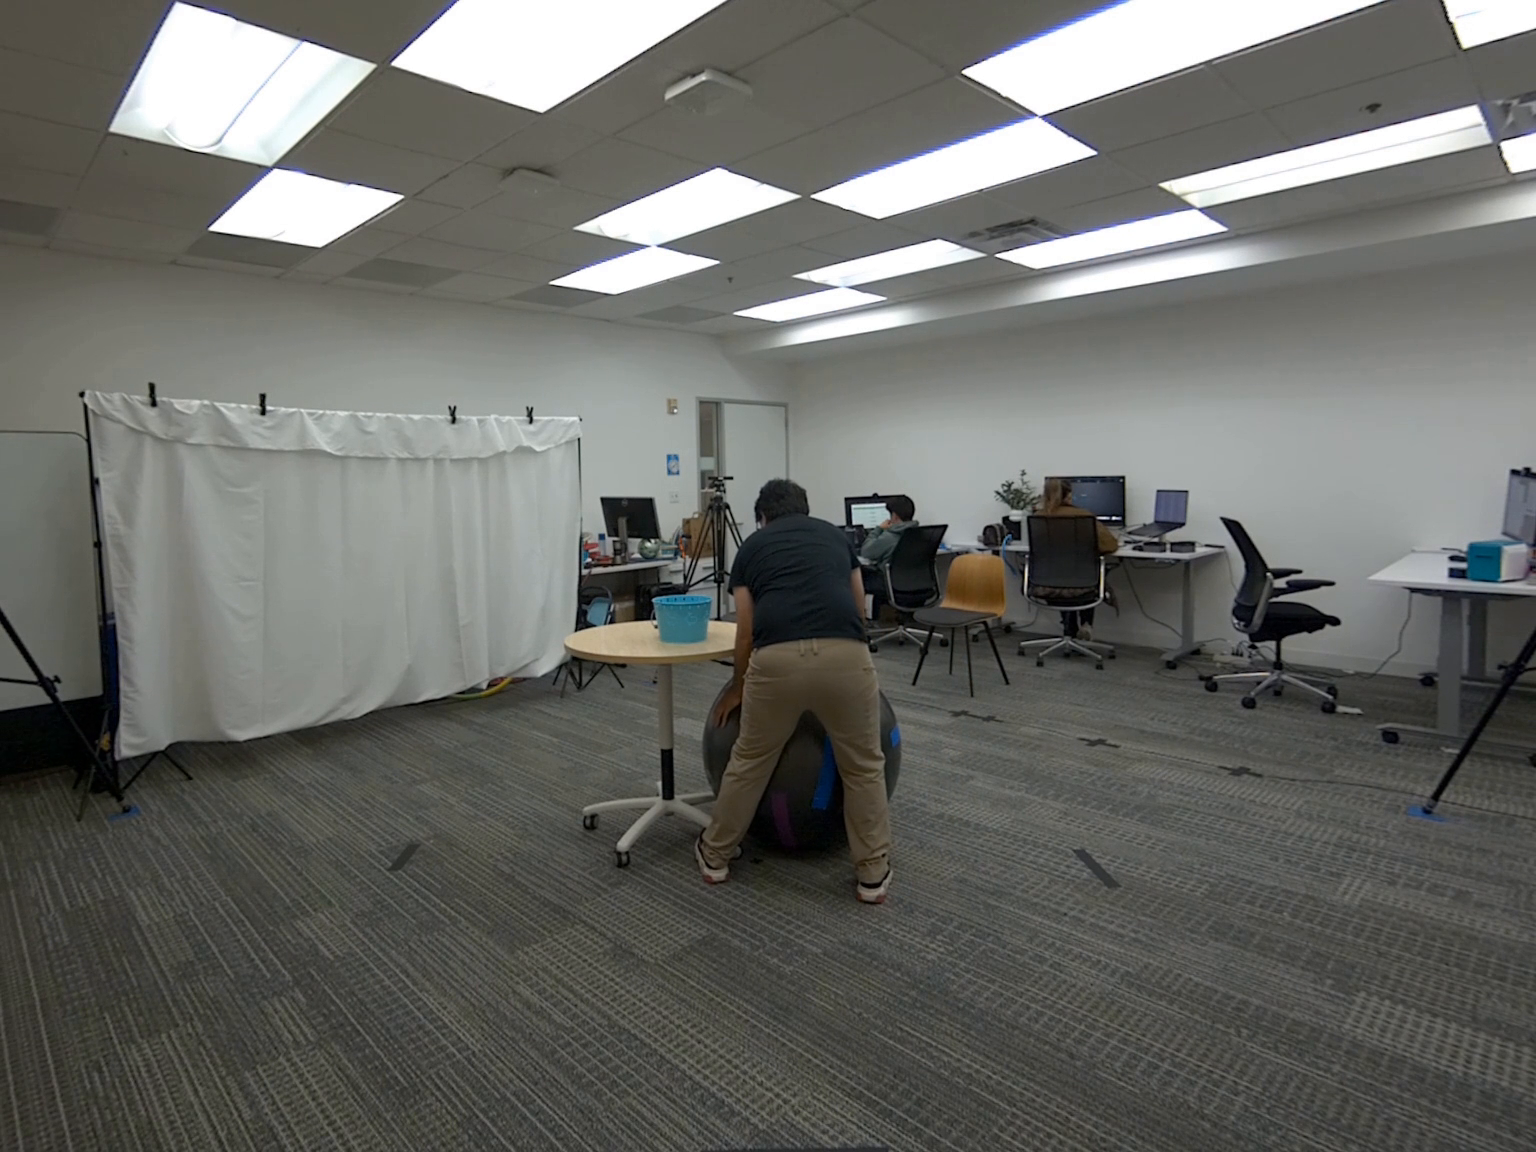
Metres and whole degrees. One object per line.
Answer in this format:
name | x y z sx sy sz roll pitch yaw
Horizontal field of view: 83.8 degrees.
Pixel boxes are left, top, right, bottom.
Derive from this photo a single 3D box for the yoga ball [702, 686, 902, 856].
yoga ball | 0.134 0.670 3.318 0.757 0.755 0.762 -1 5 -2
